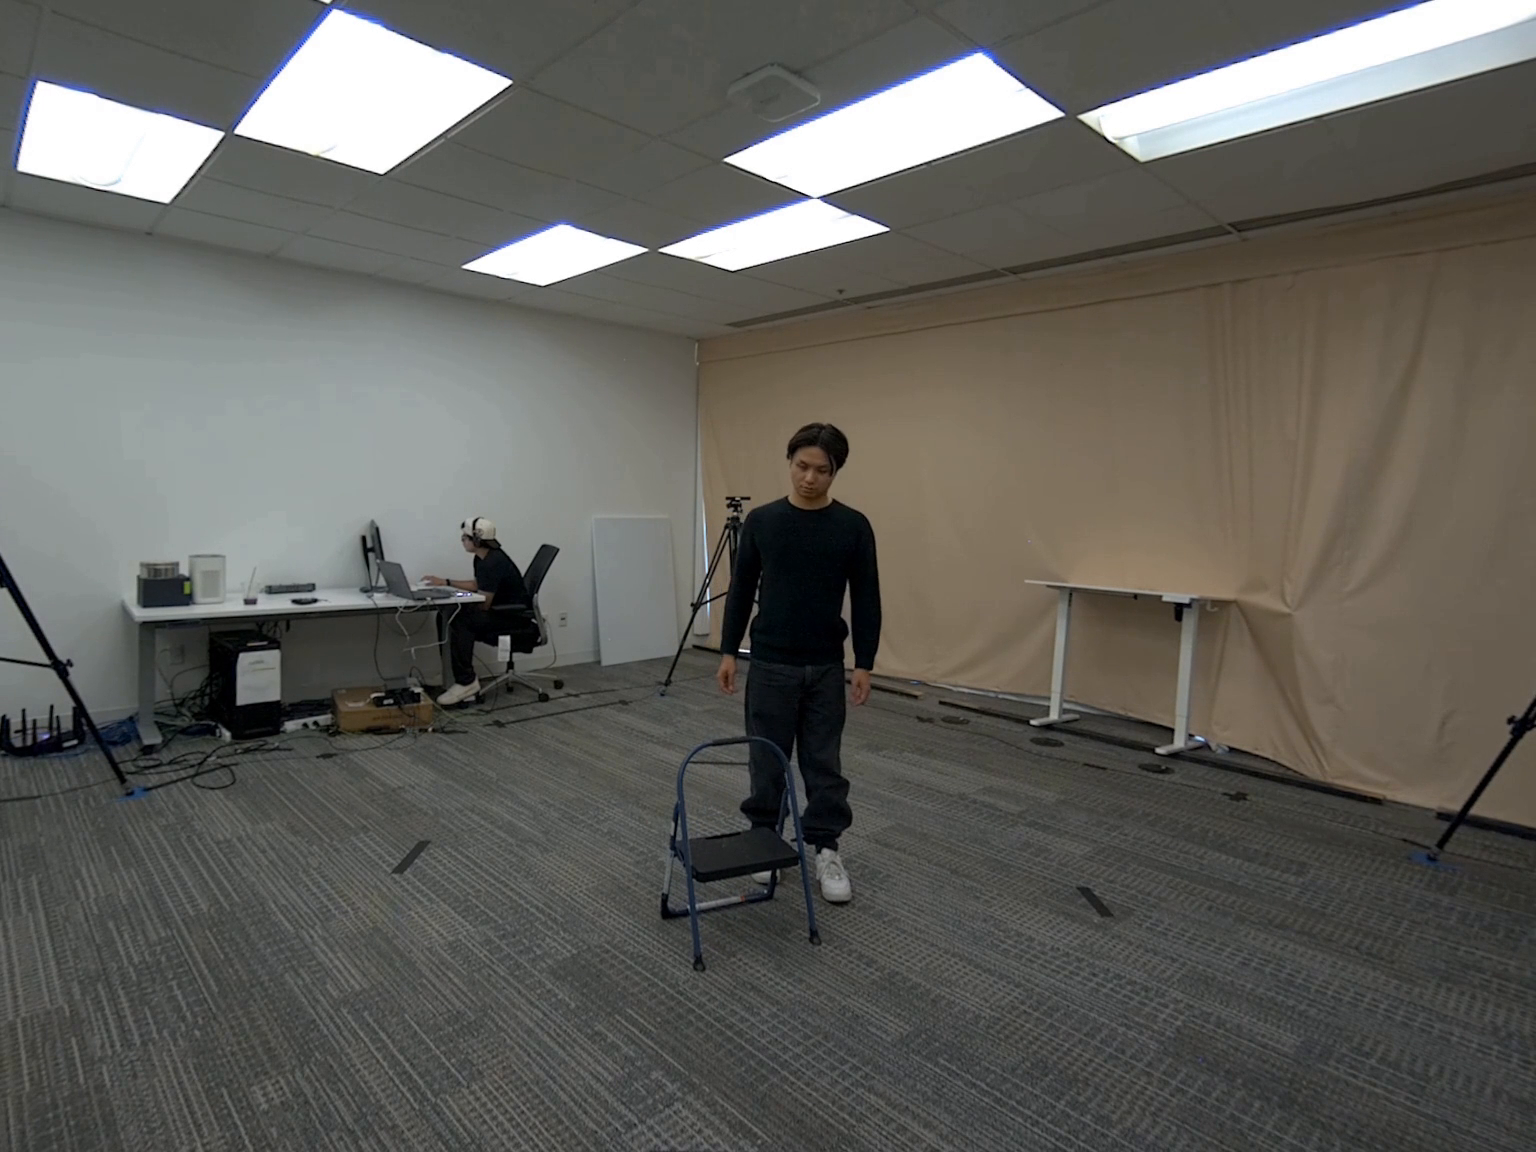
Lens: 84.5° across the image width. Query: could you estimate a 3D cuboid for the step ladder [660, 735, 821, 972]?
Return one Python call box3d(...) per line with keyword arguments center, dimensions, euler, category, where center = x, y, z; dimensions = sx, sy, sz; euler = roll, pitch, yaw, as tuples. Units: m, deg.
box3d(center=(-0.096, 0.841, 2.694), dimensions=(0.423, 0.604, 0.356), euler=(-1, 4, -26), category="step ladder")
